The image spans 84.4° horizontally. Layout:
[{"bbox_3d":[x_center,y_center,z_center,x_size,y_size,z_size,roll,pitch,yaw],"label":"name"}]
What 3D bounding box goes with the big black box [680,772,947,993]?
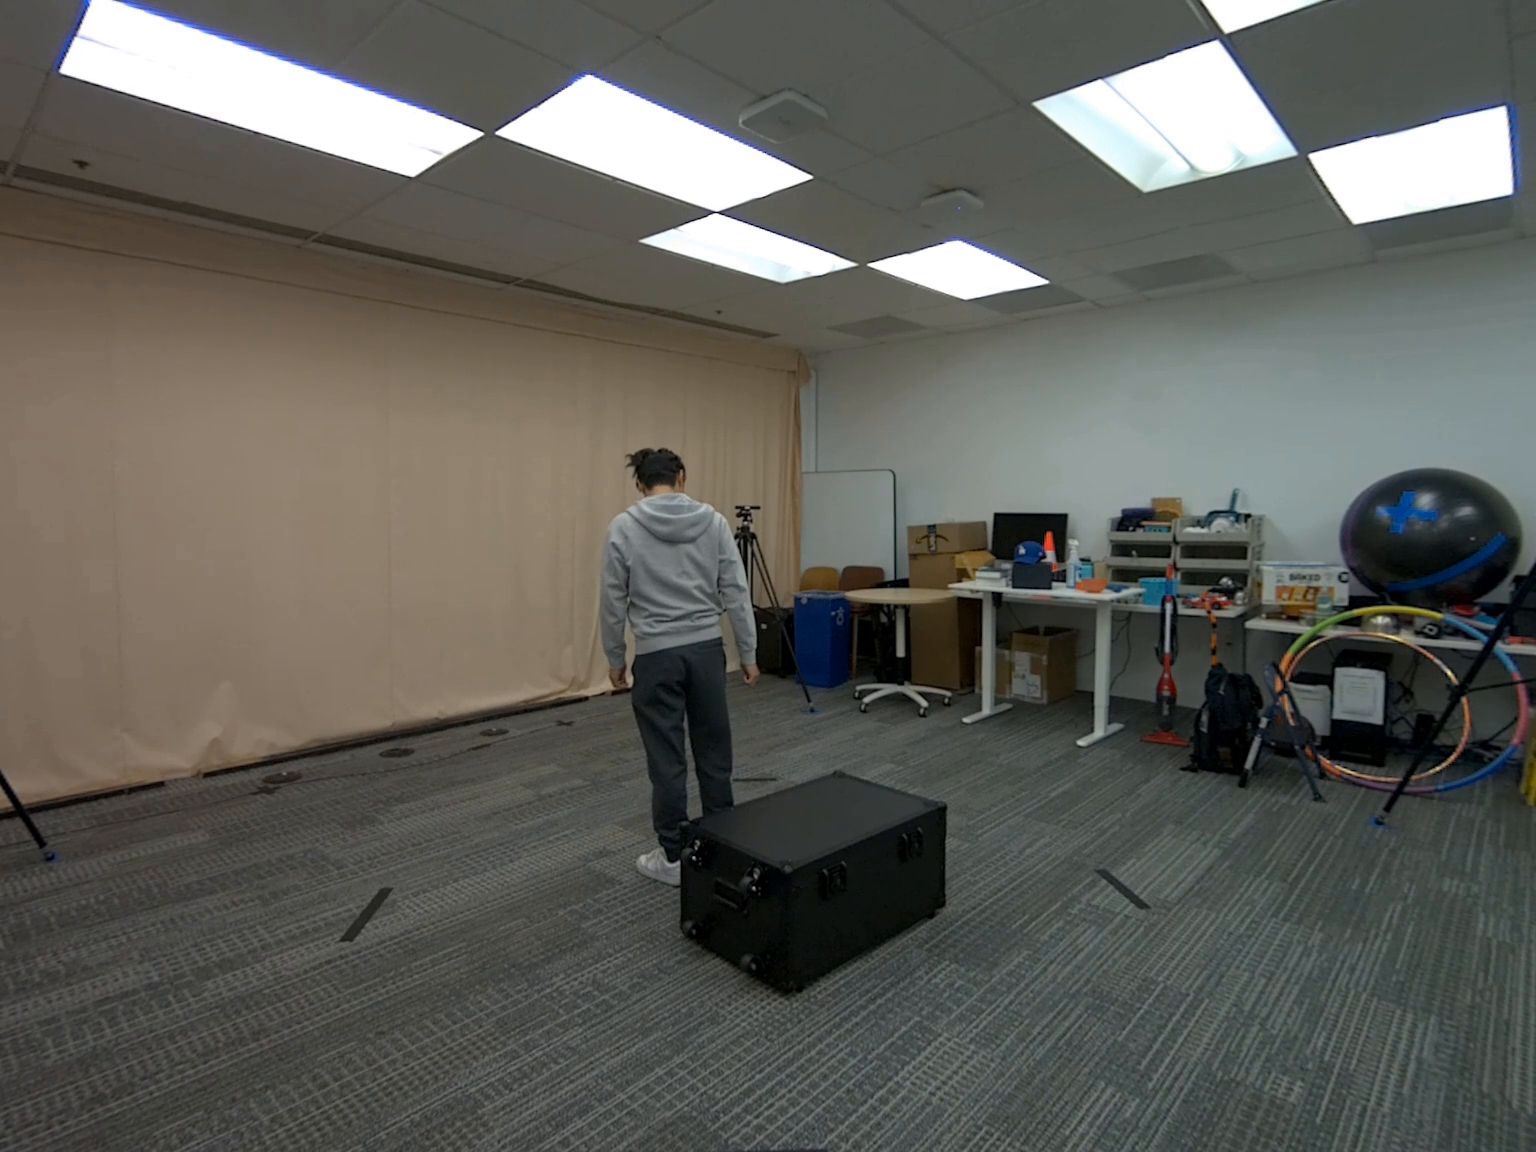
[{"bbox_3d":[0.147,0.973,2.765,0.835,0.395,0.538,-4,5,-43],"label":"big black box"}]
